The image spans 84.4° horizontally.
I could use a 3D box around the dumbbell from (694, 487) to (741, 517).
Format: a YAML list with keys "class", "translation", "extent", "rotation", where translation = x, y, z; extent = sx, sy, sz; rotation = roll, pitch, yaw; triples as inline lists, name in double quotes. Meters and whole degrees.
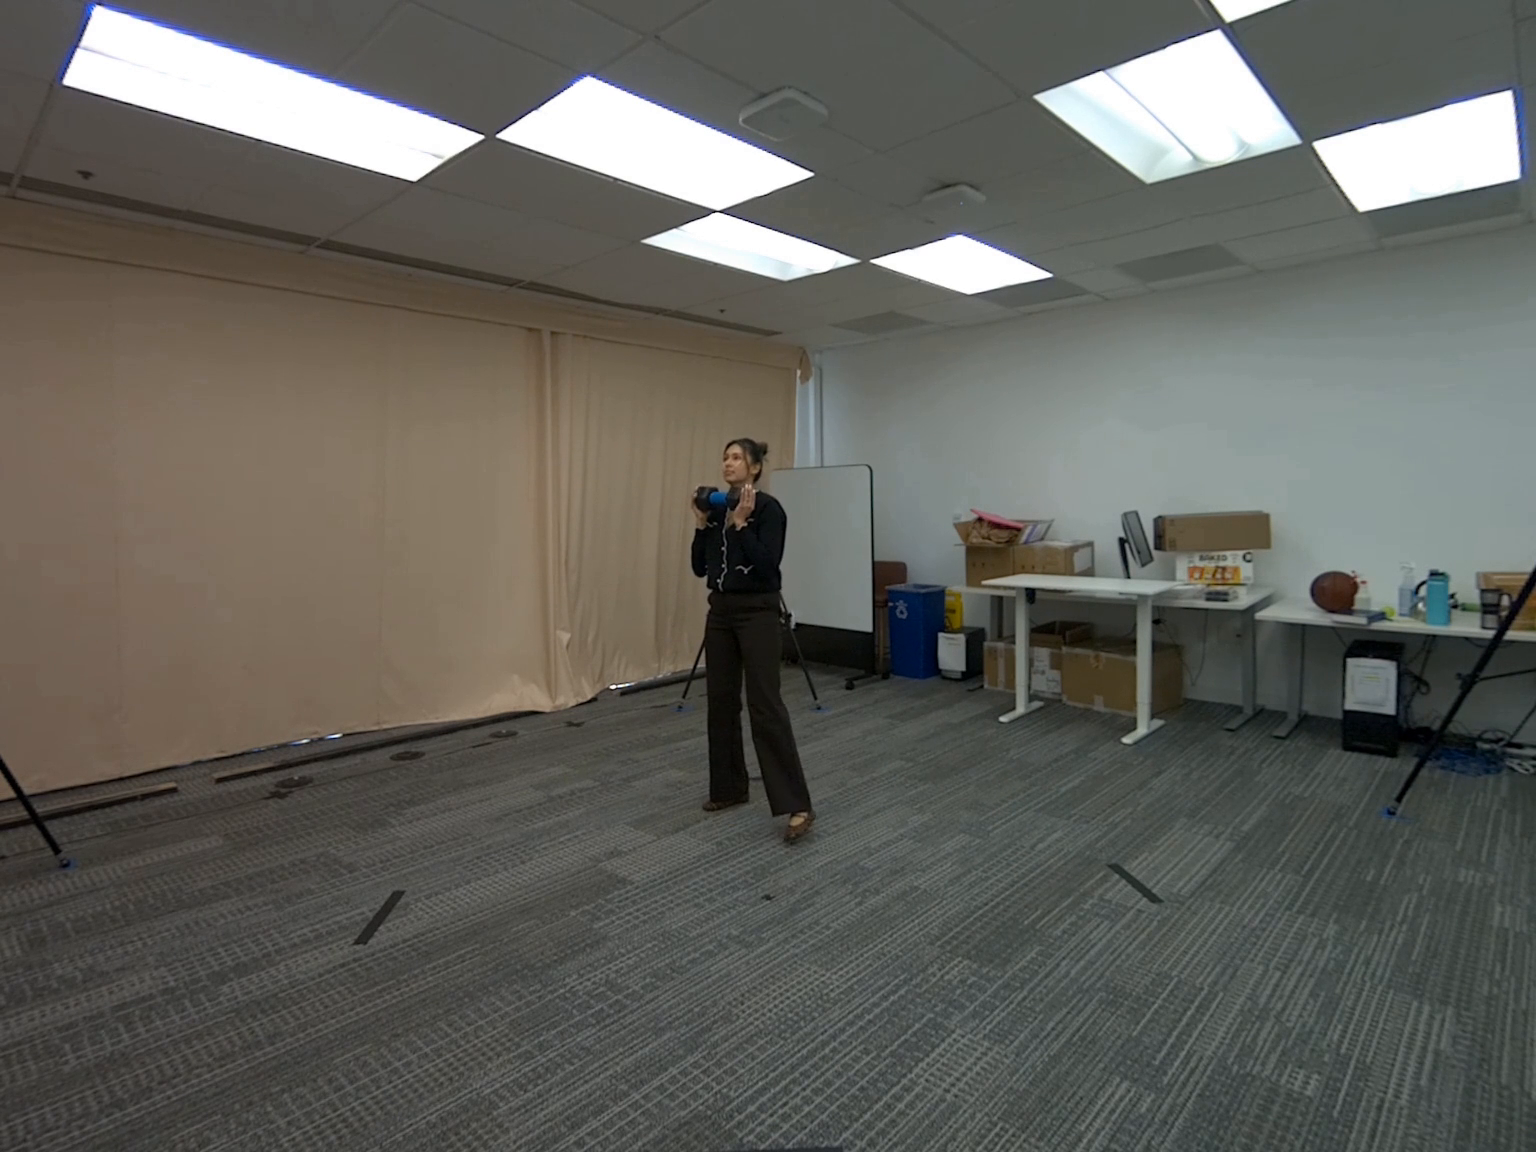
- class: "dumbbell"
  translation: [-0.193, -0.344, 3.795]
  extent: [0.303, 0.123, 0.105]
  rotation: [6, -27, 46]
